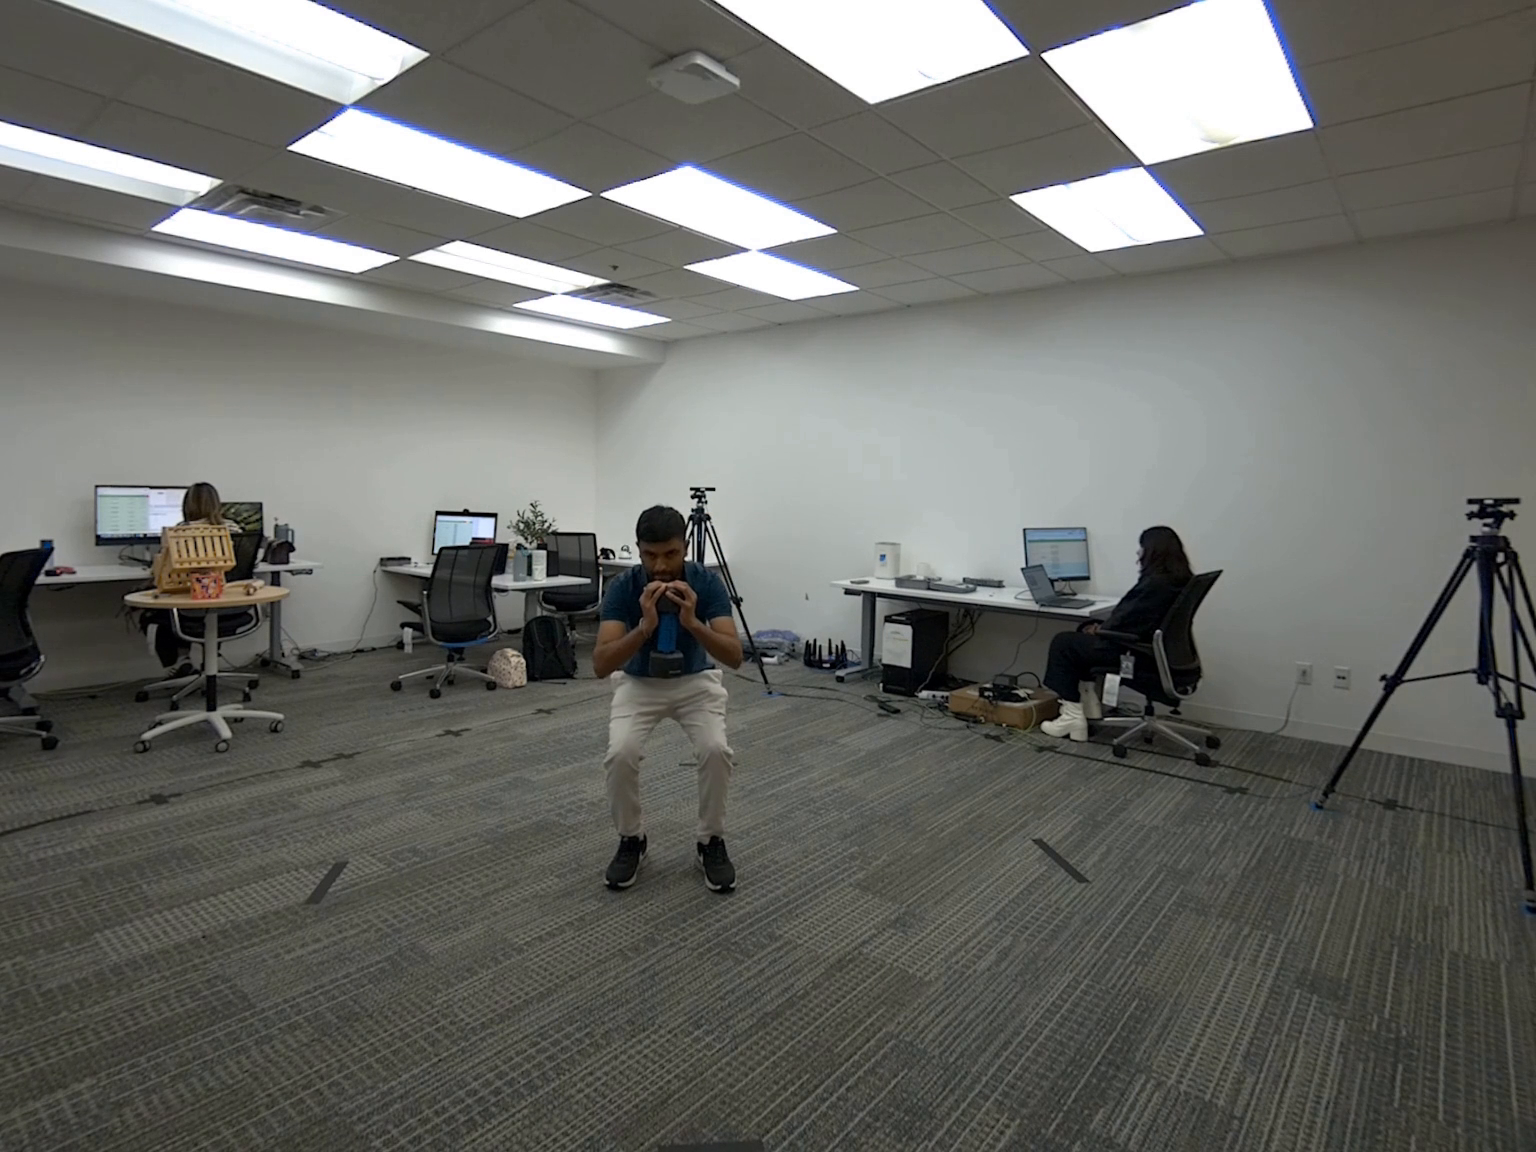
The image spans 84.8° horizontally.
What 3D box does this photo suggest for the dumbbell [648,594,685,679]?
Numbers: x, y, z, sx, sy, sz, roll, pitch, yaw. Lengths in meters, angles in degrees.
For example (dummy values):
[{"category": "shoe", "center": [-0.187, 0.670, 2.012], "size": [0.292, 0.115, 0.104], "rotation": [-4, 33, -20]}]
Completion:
[{"category": "dumbbell", "center": [-0.337, 0.172, 2.757], "size": [0.108, 0.293, 0.124], "rotation": [1, 2, -6]}]
